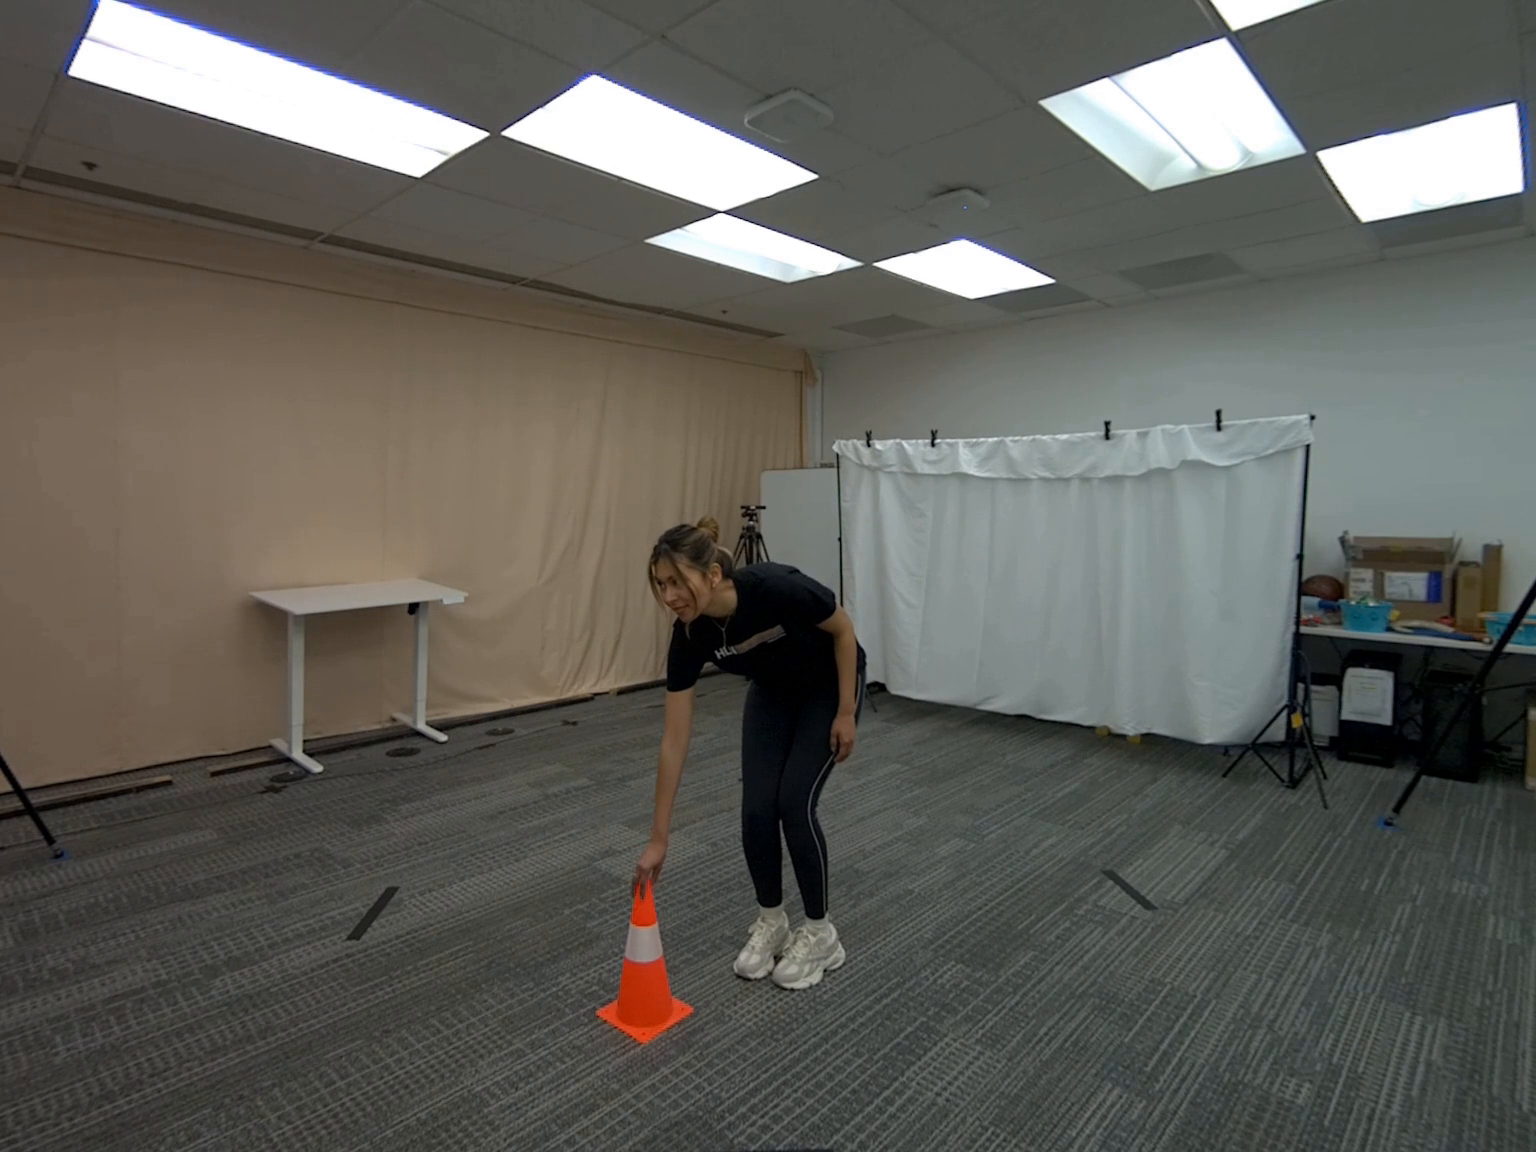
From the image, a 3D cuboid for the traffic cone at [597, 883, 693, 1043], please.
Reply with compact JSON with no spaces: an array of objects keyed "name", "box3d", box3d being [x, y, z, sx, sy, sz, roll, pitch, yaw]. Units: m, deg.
[{"name":"traffic cone","box3d":[-0.331,1.014,2.308,0.210,0.383,0.199,5,4,35]}]
